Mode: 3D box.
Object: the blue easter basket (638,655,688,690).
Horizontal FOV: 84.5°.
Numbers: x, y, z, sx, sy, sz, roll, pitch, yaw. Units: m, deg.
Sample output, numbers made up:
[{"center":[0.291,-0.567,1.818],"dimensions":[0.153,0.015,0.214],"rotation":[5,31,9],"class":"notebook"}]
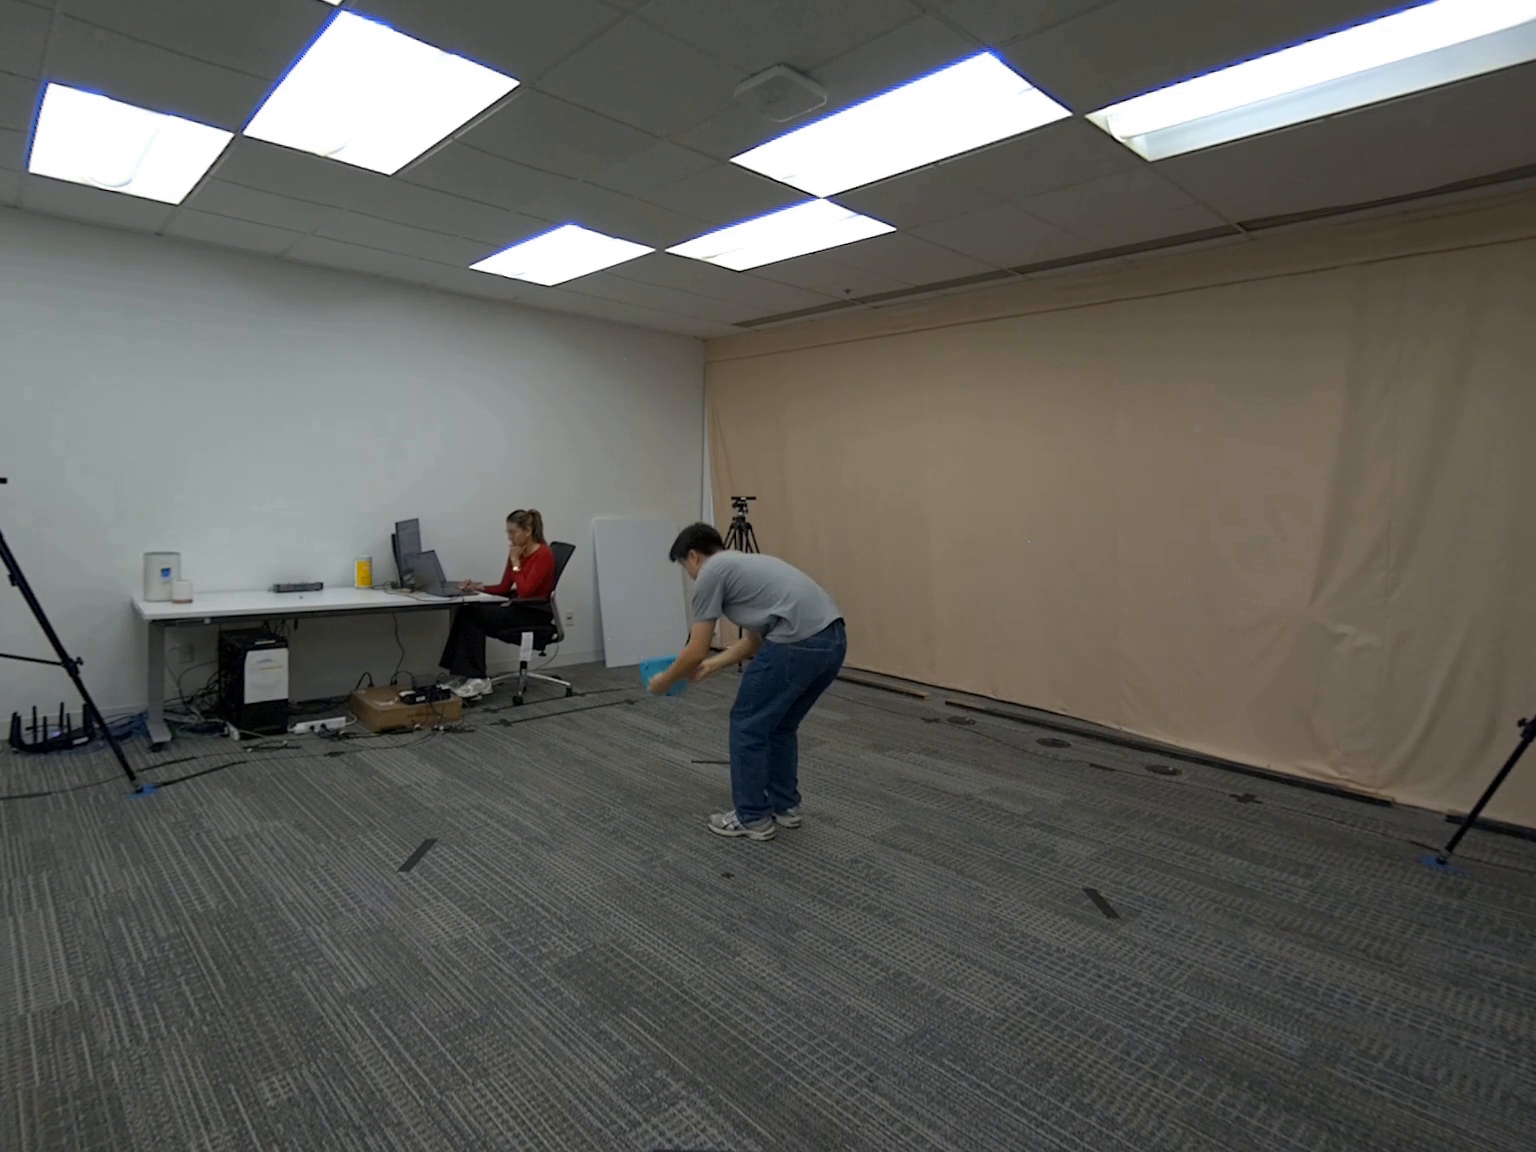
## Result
[{"center":[-0.430,0.367,3.739],"dimensions":[0.243,0.156,0.243],"rotation":[-7,-5,-2],"class":"blue easter basket"}]
